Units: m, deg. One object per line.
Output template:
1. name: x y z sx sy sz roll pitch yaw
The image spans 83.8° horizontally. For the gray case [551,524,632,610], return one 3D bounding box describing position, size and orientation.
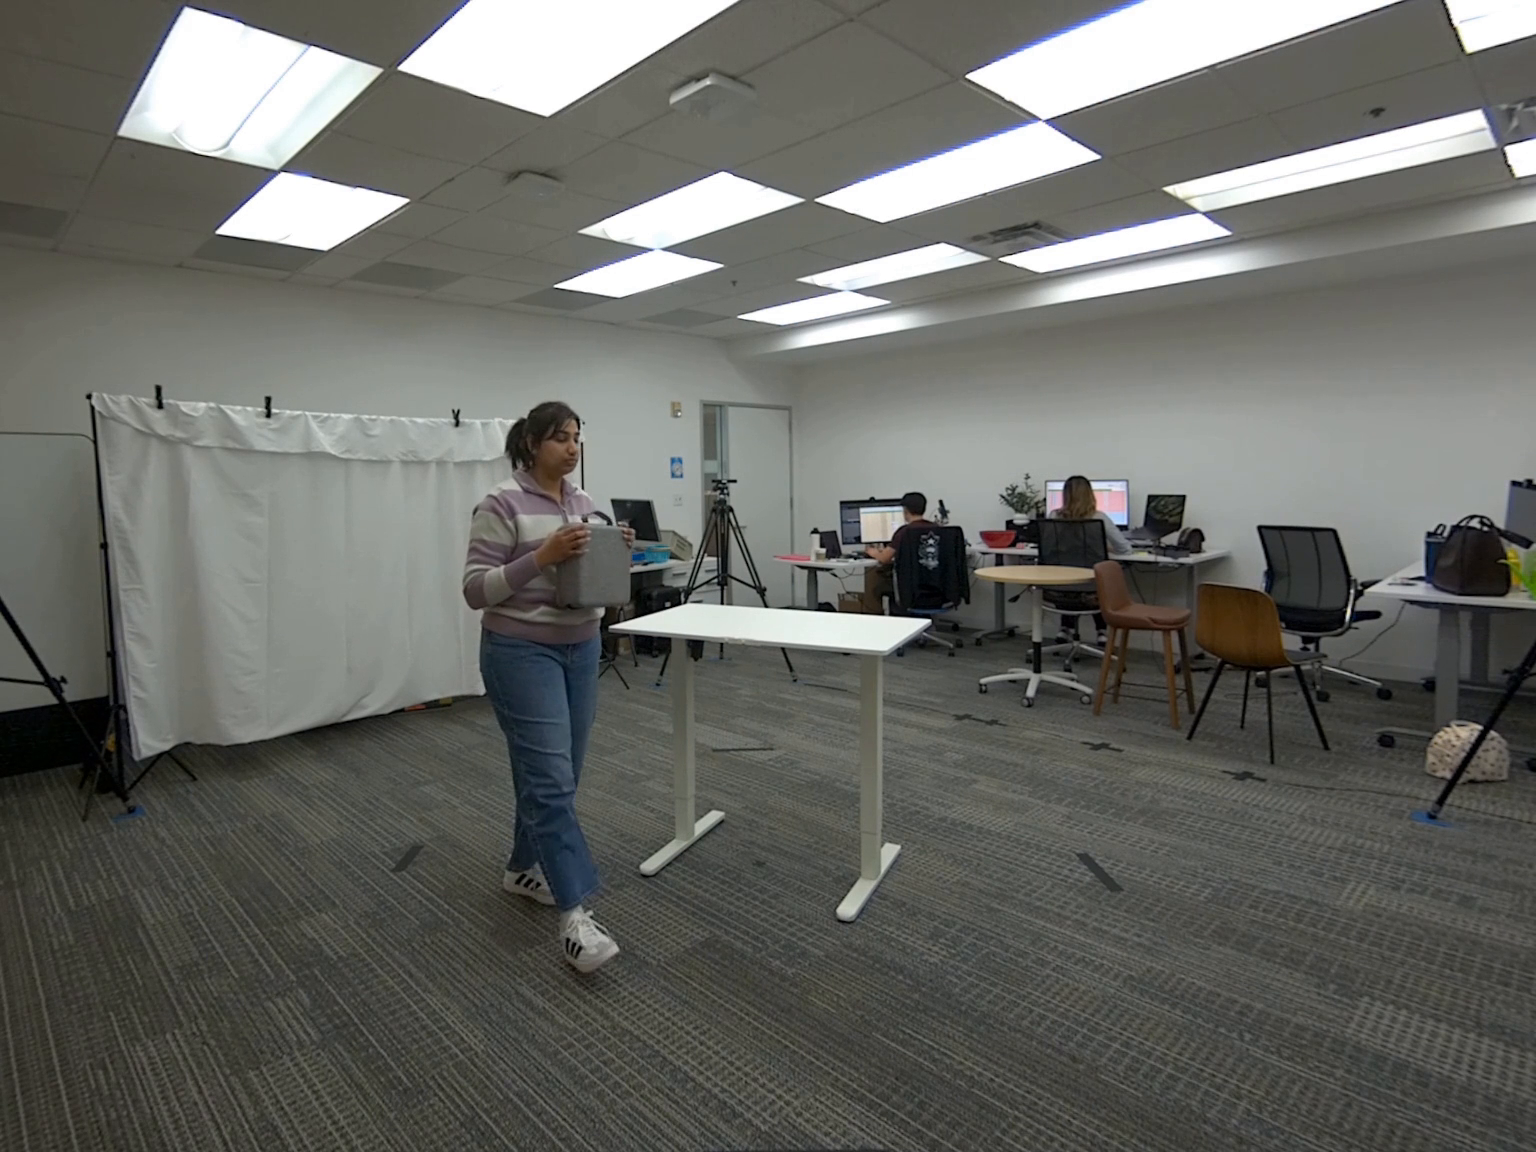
1. gray case: -0.538 -0.032 2.616 0.106 0.261 0.251 0 -2 23
